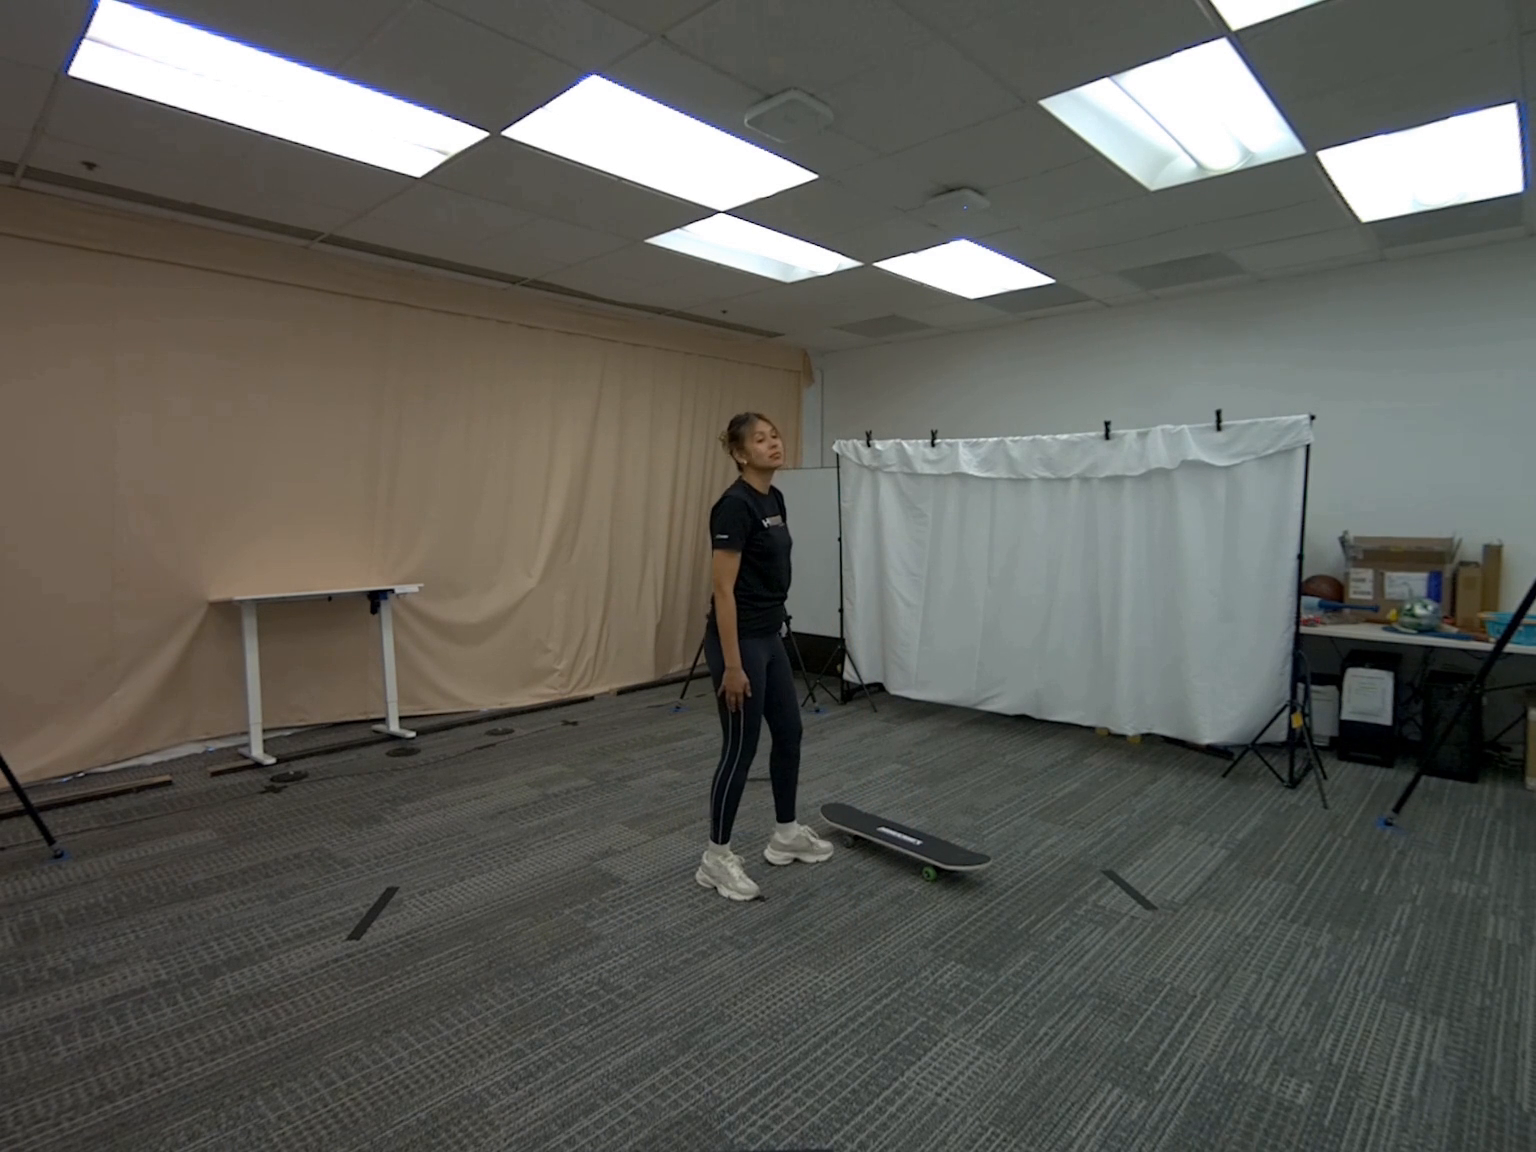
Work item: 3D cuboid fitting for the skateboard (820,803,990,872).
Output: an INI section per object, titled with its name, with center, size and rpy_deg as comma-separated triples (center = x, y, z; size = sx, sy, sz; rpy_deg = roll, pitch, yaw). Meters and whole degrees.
[skateboard]
center = 0.523, 1.058, 3.327
size = 0.187, 0.110, 0.812
rpy_deg = -4, 7, -42
